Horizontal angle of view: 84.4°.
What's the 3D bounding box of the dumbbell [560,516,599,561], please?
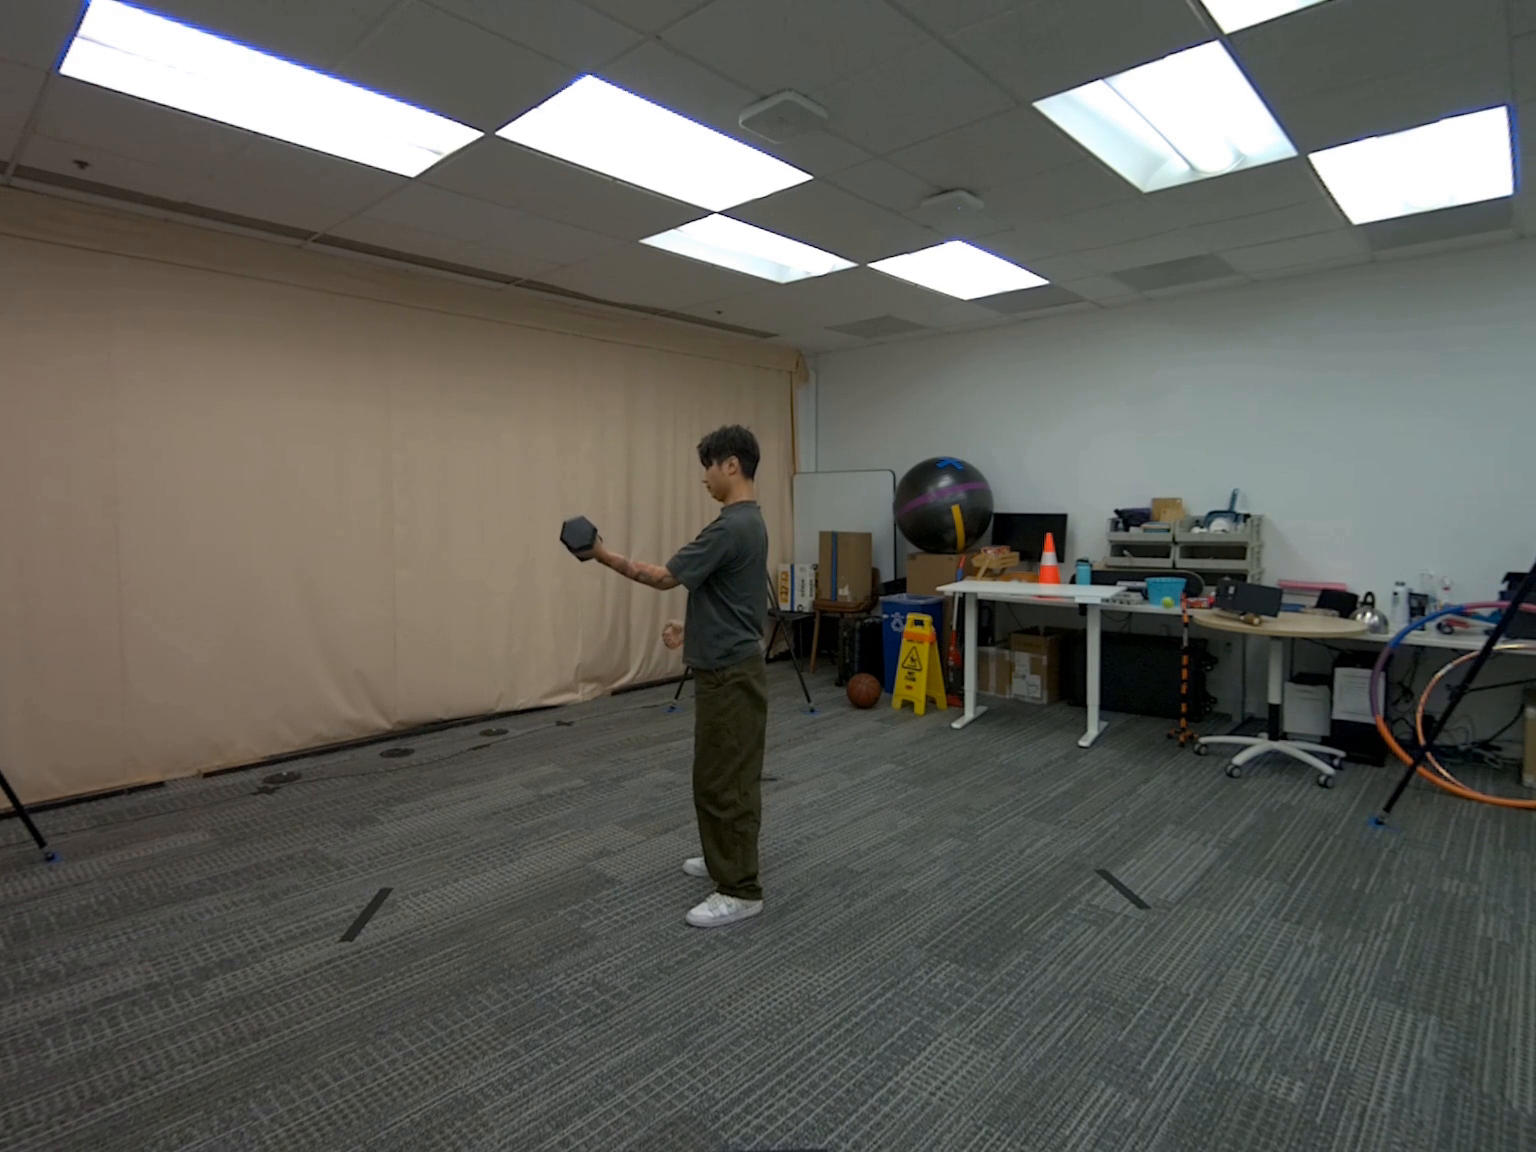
[{"bbox_3d":[-0.619,-0.122,2.799,0.108,0.123,0.295,12,-7,-8],"label":"dumbbell"}]
